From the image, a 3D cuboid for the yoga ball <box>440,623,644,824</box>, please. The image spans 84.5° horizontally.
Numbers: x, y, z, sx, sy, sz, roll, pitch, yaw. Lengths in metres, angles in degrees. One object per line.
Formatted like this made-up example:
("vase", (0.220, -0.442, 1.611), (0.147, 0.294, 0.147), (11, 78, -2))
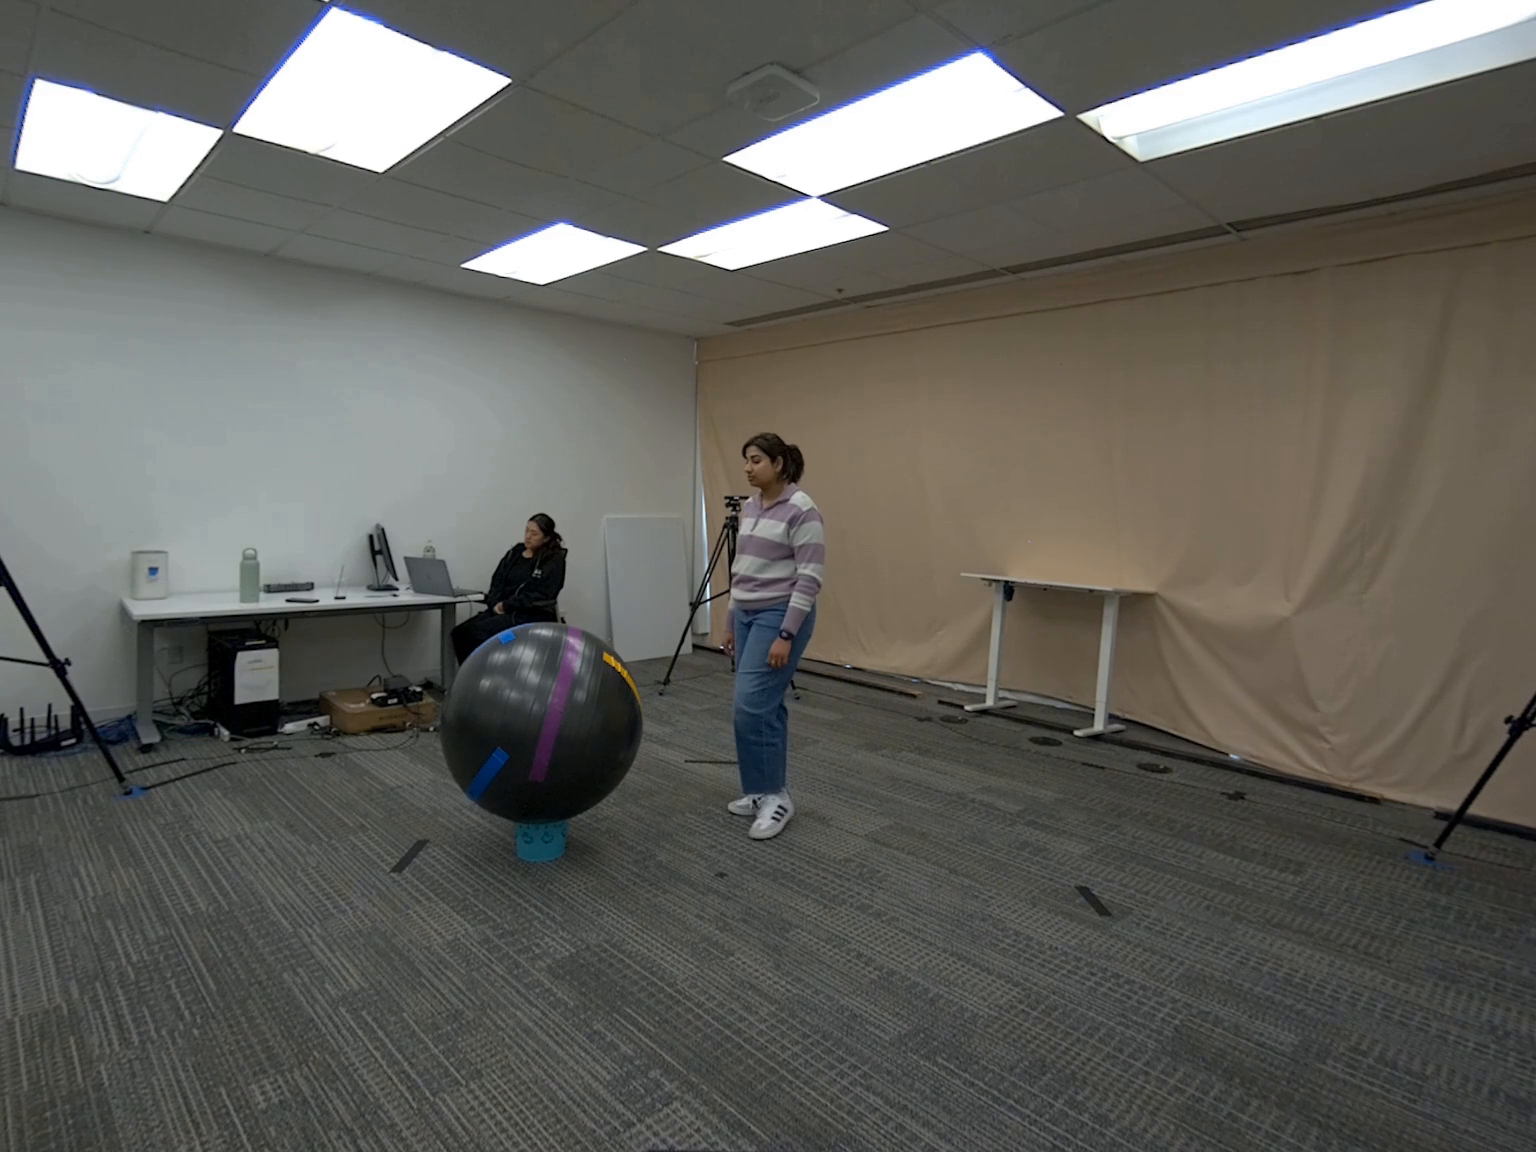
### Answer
("yoga ball", (-0.871, 0.565, 3.239), (0.757, 0.756, 0.761), (1, 4, -1))
